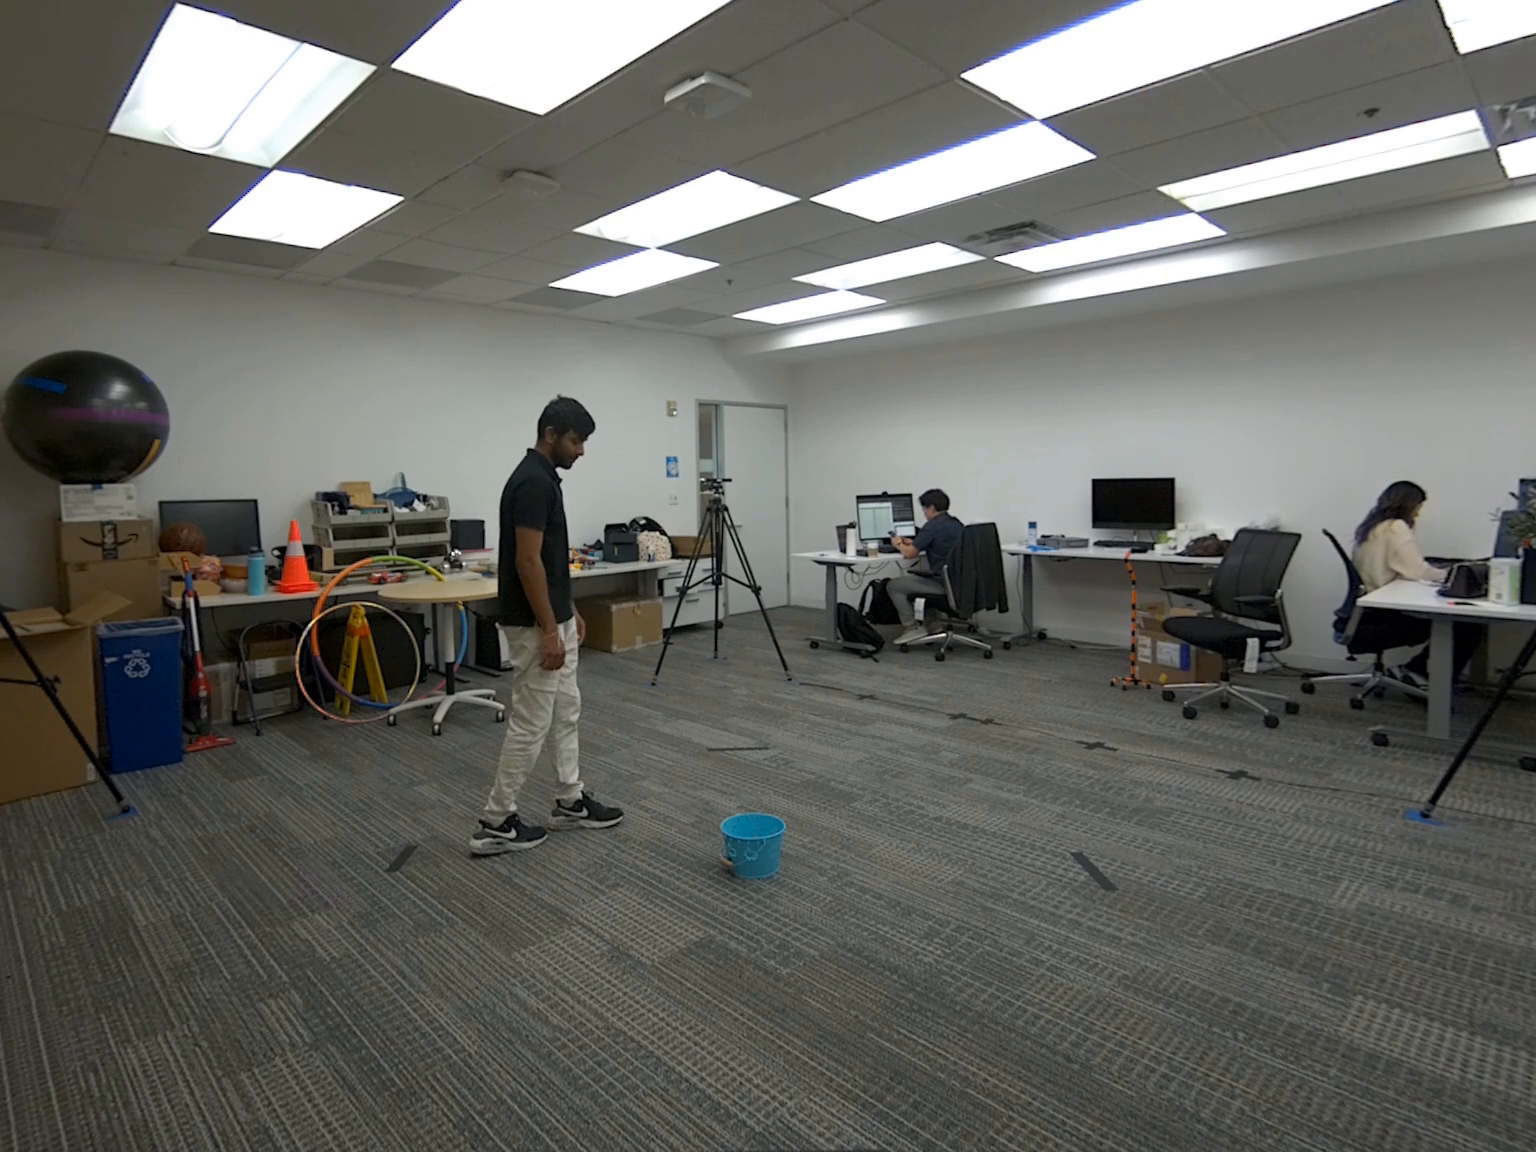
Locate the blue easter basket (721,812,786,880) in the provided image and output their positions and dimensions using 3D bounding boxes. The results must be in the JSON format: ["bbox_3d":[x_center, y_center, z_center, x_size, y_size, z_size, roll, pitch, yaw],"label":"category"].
[{"bbox_3d":[-0.055,0.965,3.075,0.243,0.155,0.245,-1,6,-2],"label":"blue easter basket"}]
